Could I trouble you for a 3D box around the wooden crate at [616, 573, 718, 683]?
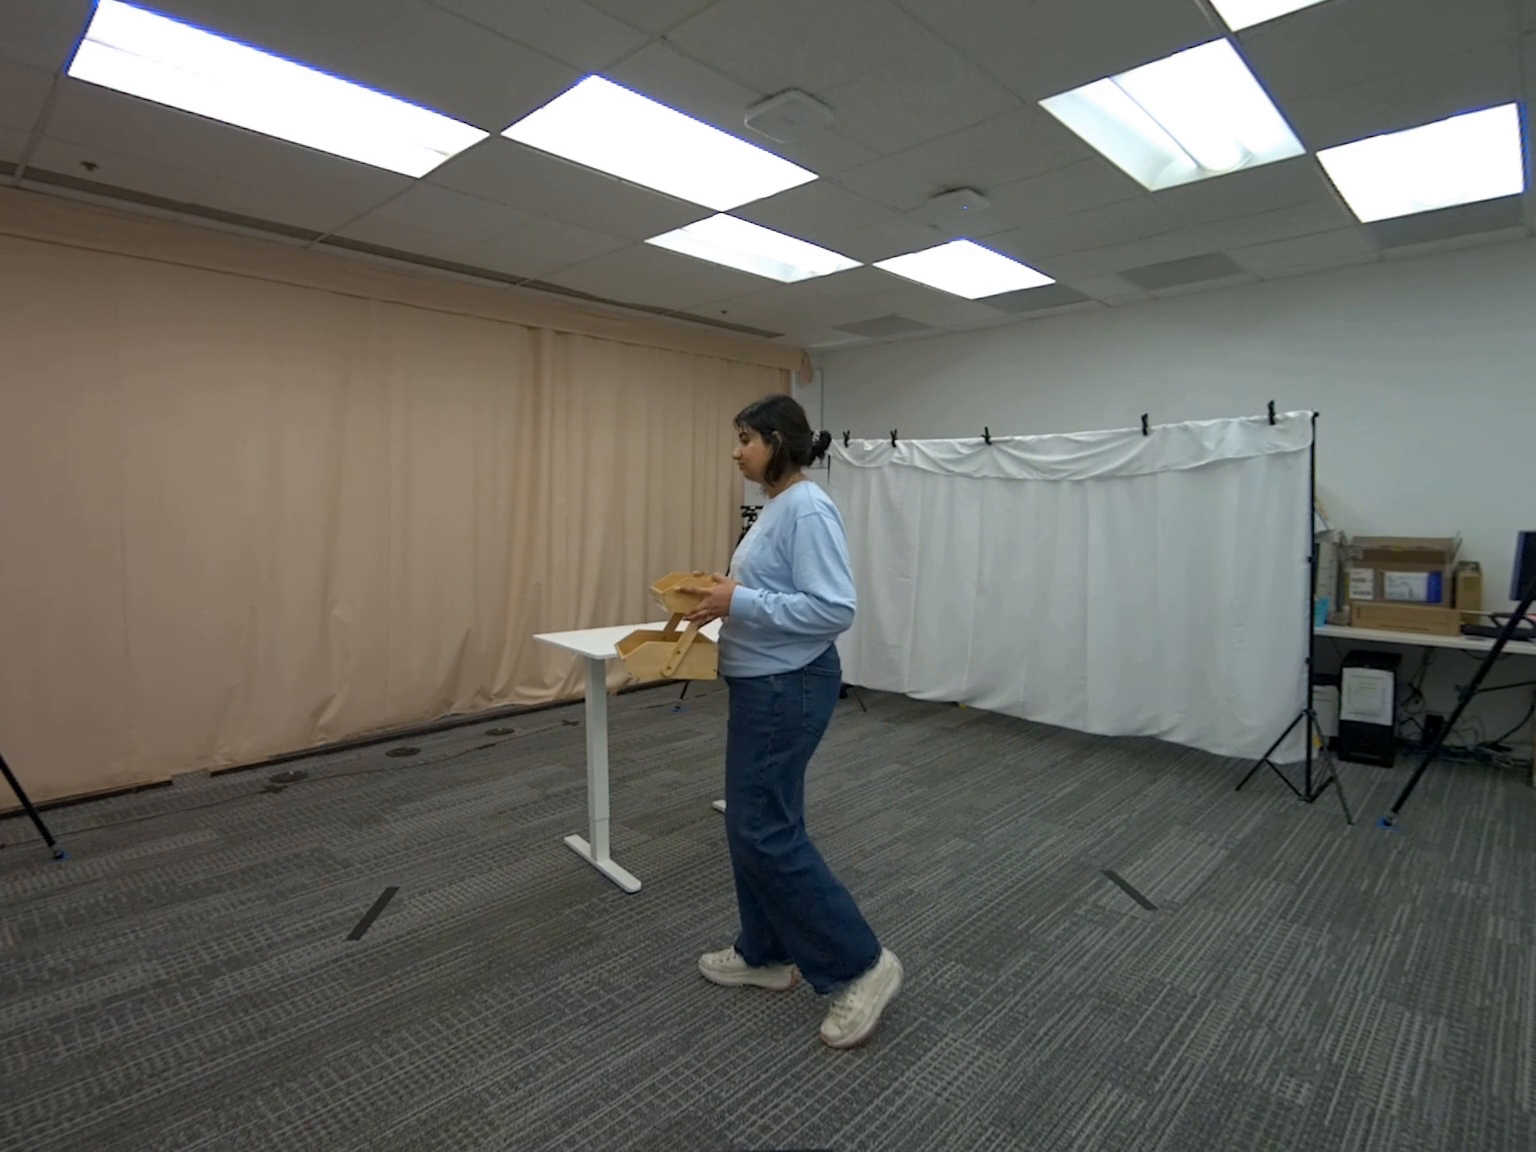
[{"bbox_3d":[-0.257,0.129,2.314,0.299,0.273,0.328,3,2,-11],"label":"wooden crate"}]
